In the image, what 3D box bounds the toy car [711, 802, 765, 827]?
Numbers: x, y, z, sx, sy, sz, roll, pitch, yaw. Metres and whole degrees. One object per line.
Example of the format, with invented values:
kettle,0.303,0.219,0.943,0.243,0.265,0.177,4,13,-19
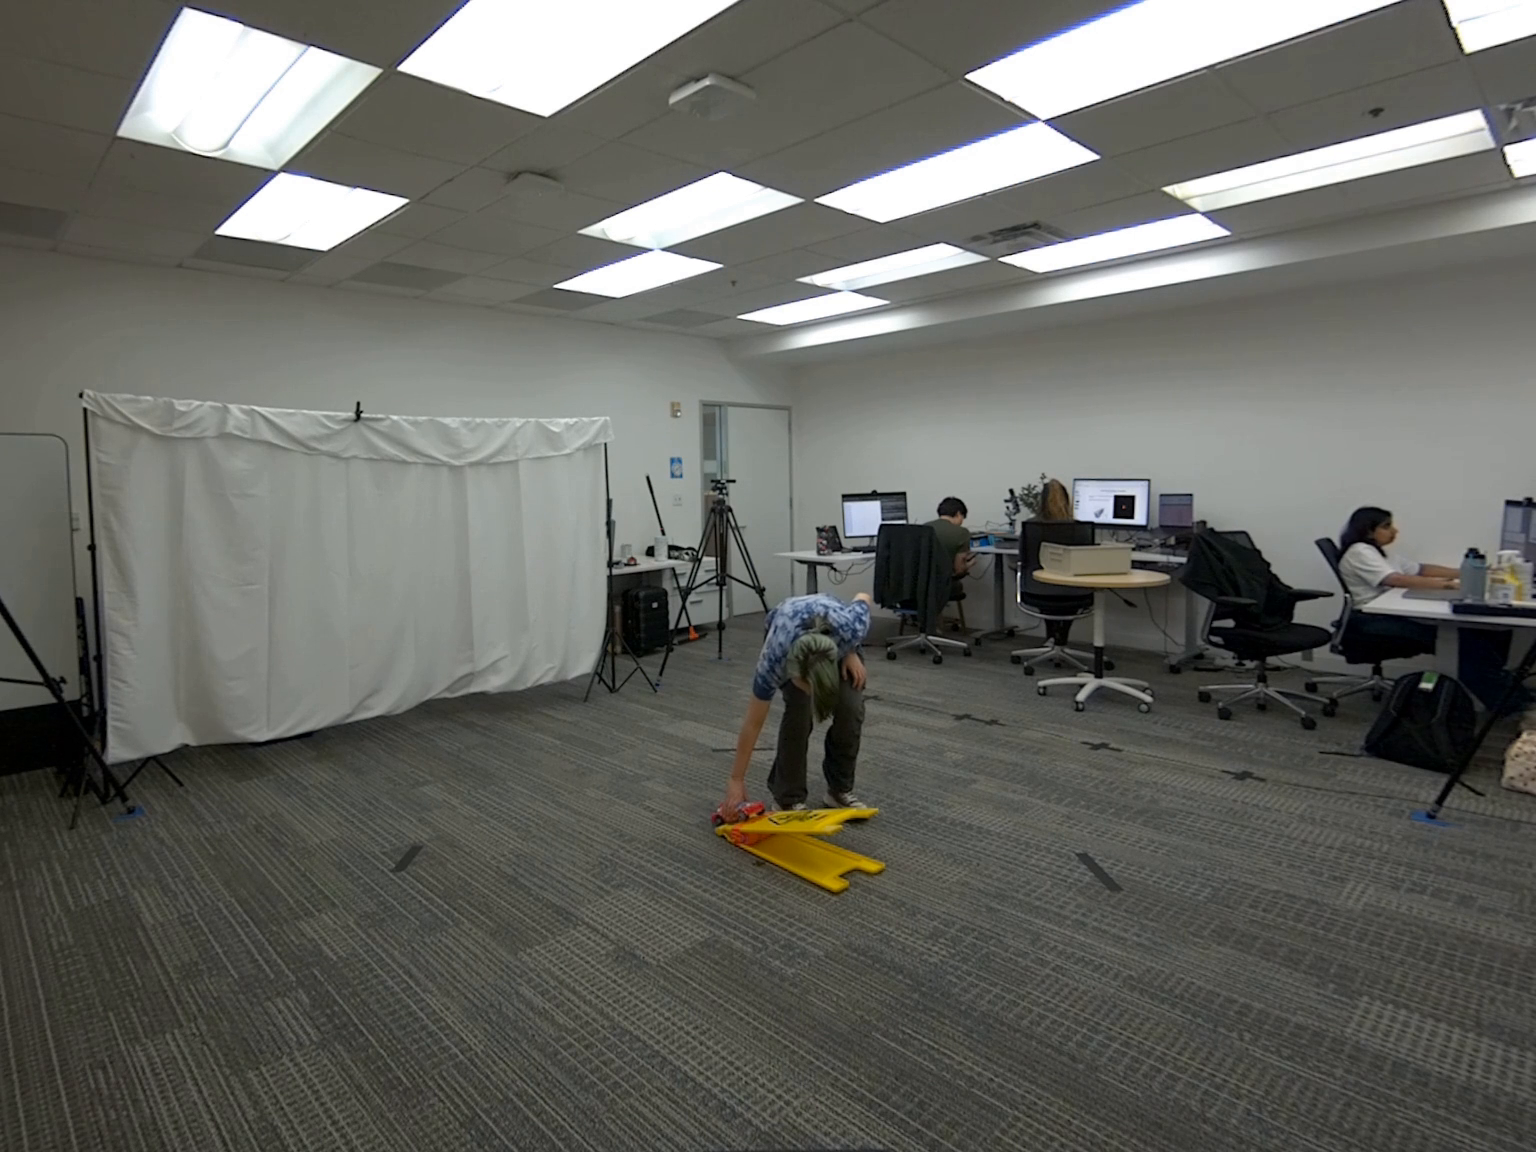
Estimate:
toy car,-0.120,0.952,3.419,0.127,0.084,0.260,-6,-5,-42
